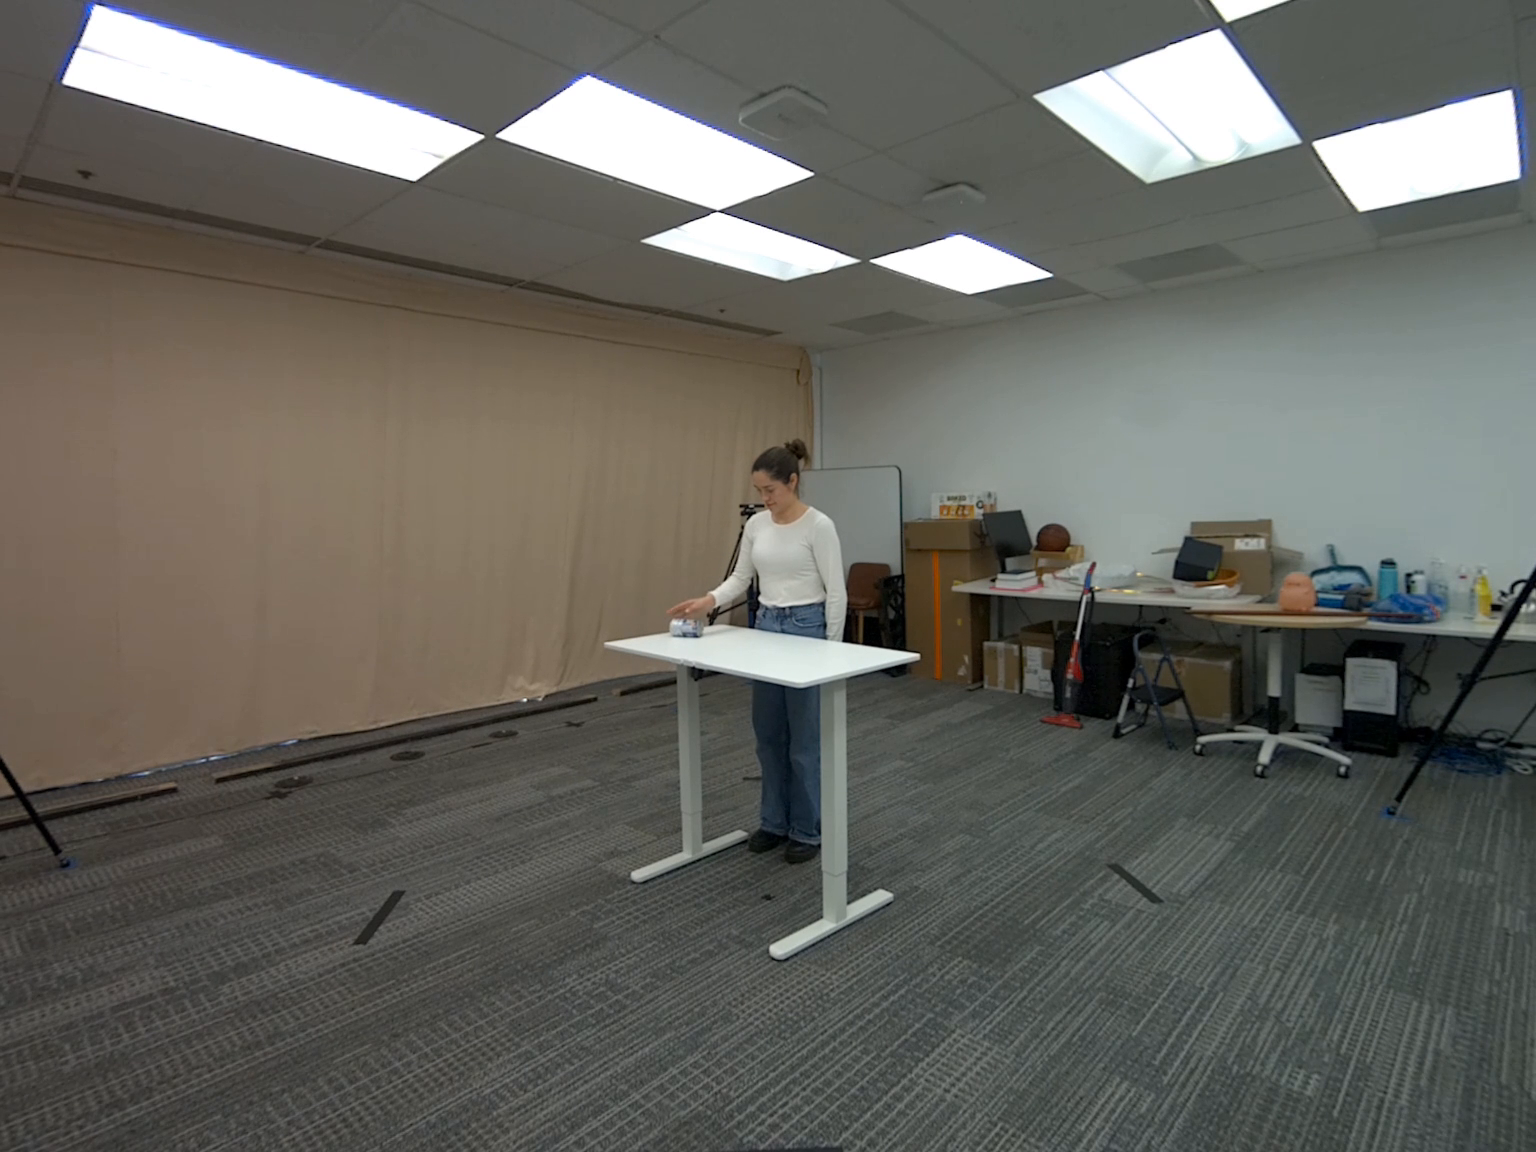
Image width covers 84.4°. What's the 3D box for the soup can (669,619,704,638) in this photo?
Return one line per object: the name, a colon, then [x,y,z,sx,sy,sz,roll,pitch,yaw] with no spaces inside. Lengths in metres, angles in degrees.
soup can: [-0.312,0.205,3.255,0.122,0.067,0.067,1,4,3]
